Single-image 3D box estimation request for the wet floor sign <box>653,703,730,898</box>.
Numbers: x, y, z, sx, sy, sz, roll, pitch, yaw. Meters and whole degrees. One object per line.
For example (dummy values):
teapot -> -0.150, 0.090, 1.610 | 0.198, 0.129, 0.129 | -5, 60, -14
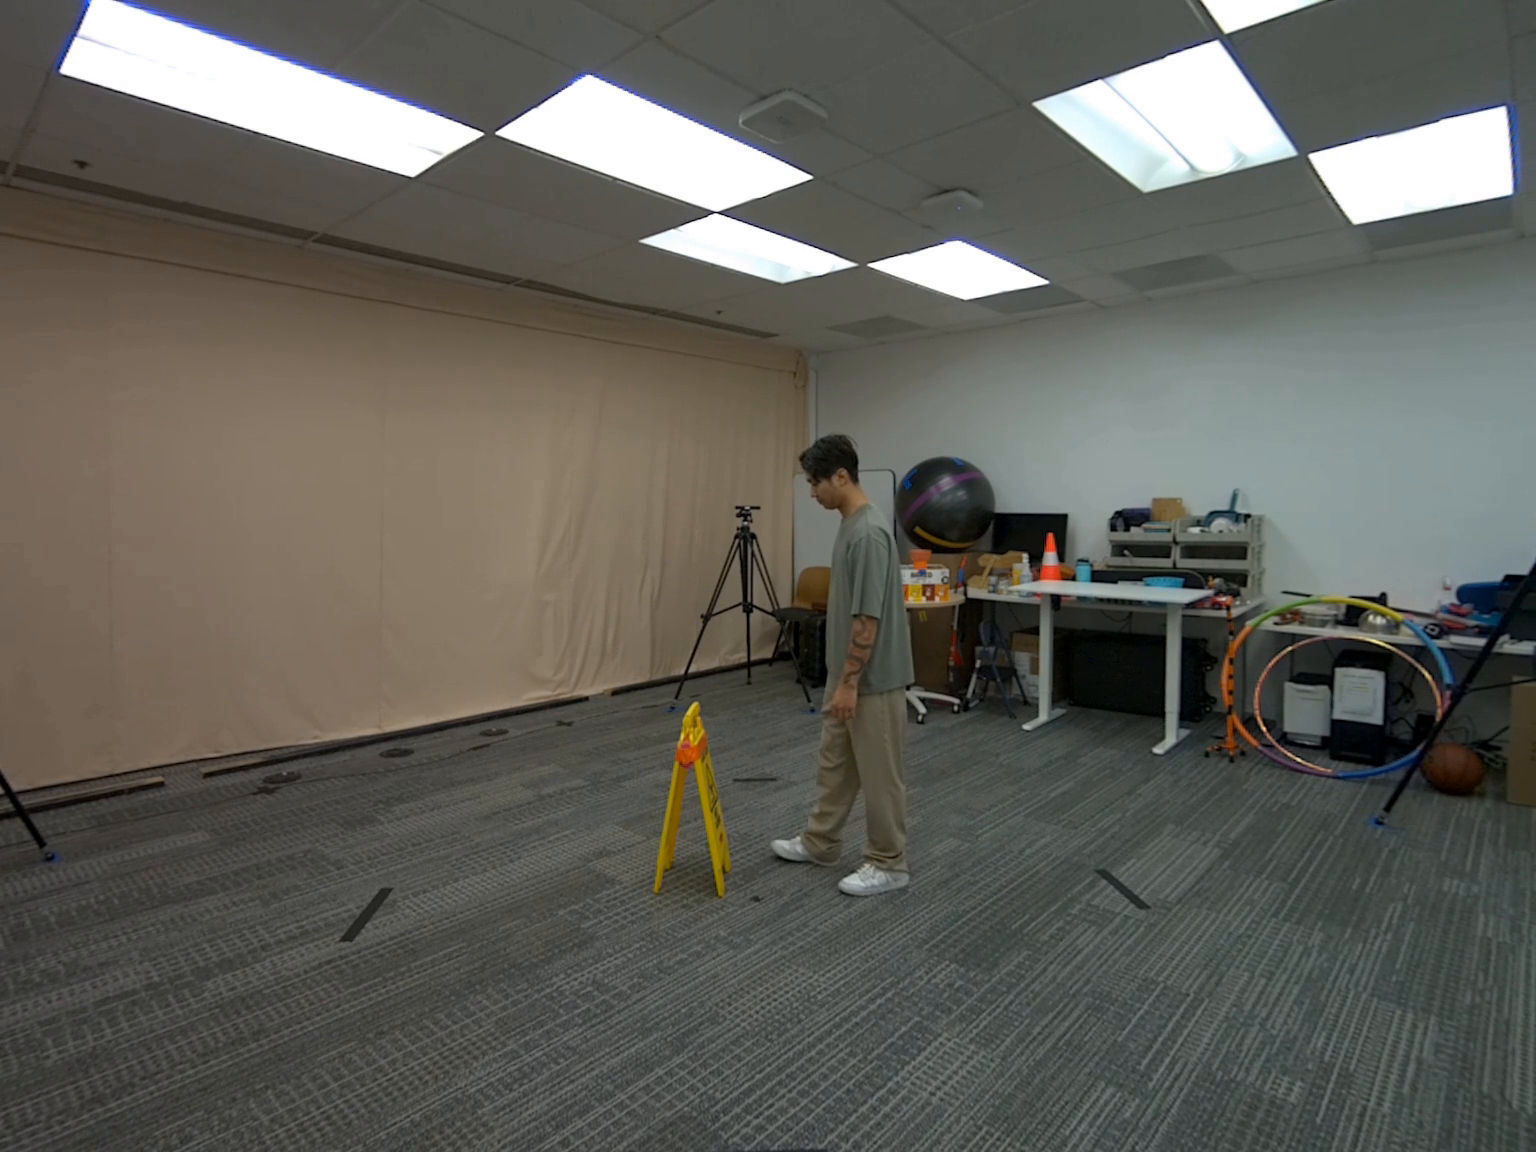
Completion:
wet floor sign -> -0.279, 0.815, 3.121 | 0.292, 0.645, 0.281 | -1, 2, 6
